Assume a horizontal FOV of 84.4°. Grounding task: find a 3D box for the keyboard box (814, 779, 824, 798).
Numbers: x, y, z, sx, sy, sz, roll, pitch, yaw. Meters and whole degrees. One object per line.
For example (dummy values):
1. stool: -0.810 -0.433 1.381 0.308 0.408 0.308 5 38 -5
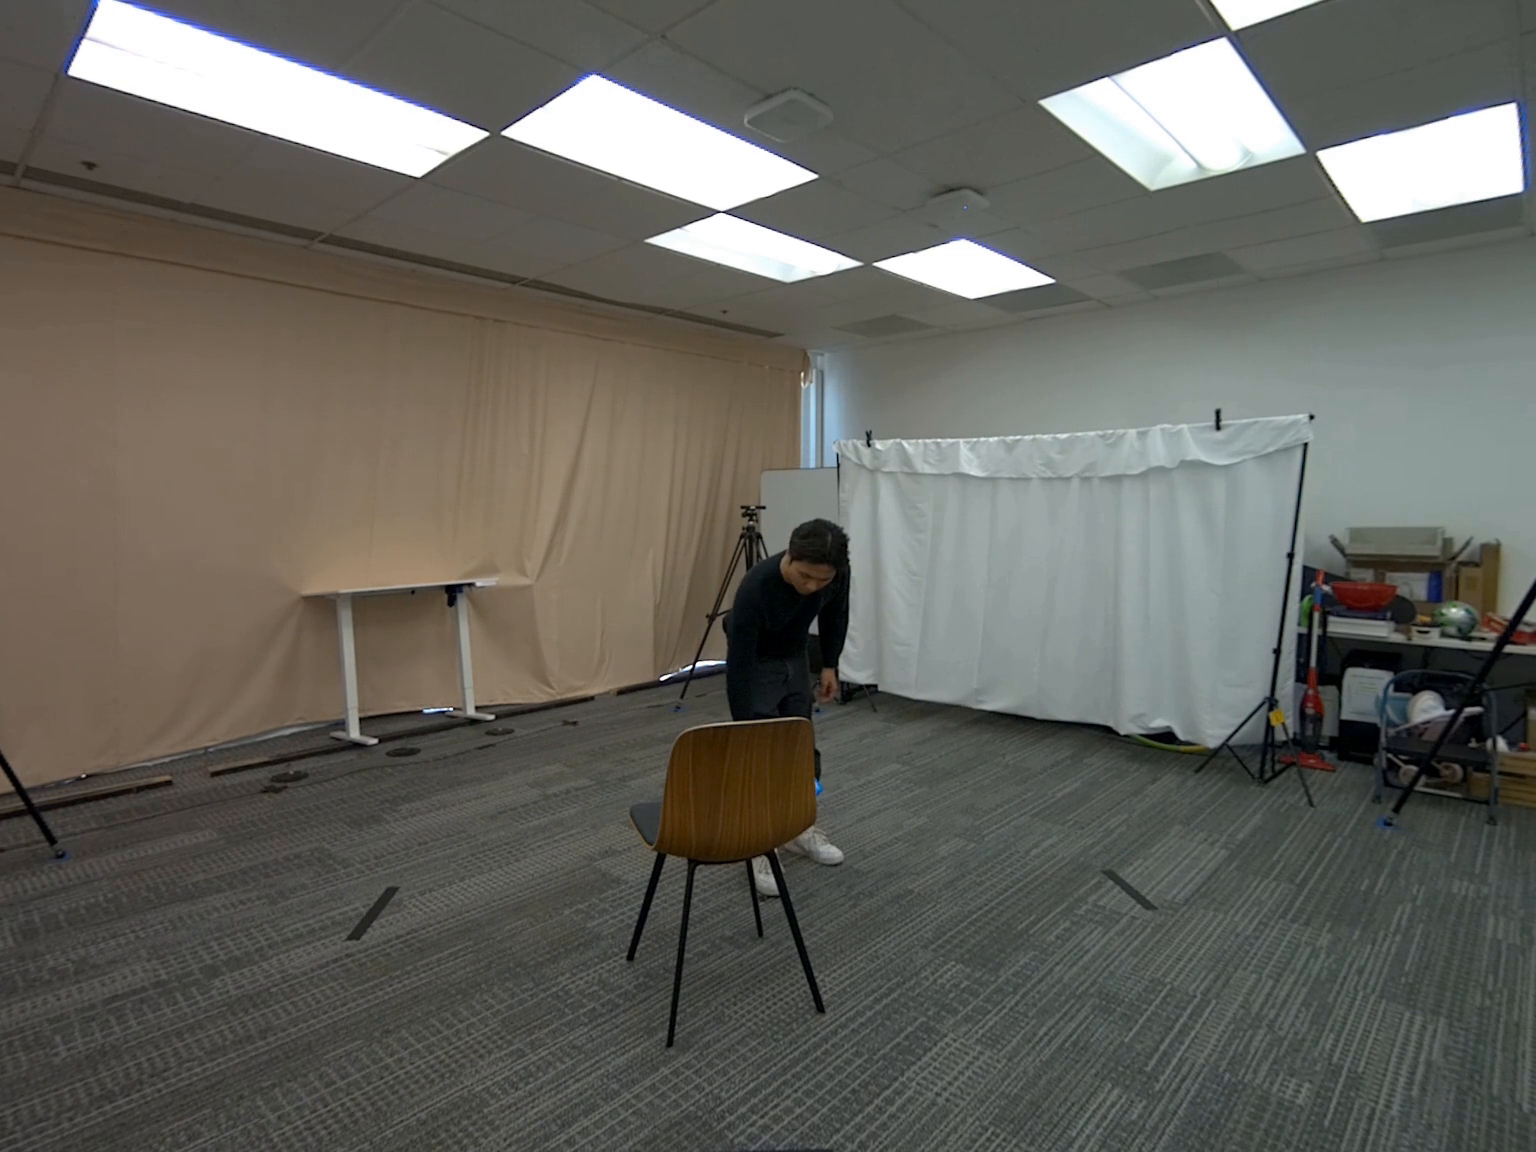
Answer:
1. keyboard box: 0.007 0.781 2.901 0.057 0.180 0.438 -9 -35 -46
